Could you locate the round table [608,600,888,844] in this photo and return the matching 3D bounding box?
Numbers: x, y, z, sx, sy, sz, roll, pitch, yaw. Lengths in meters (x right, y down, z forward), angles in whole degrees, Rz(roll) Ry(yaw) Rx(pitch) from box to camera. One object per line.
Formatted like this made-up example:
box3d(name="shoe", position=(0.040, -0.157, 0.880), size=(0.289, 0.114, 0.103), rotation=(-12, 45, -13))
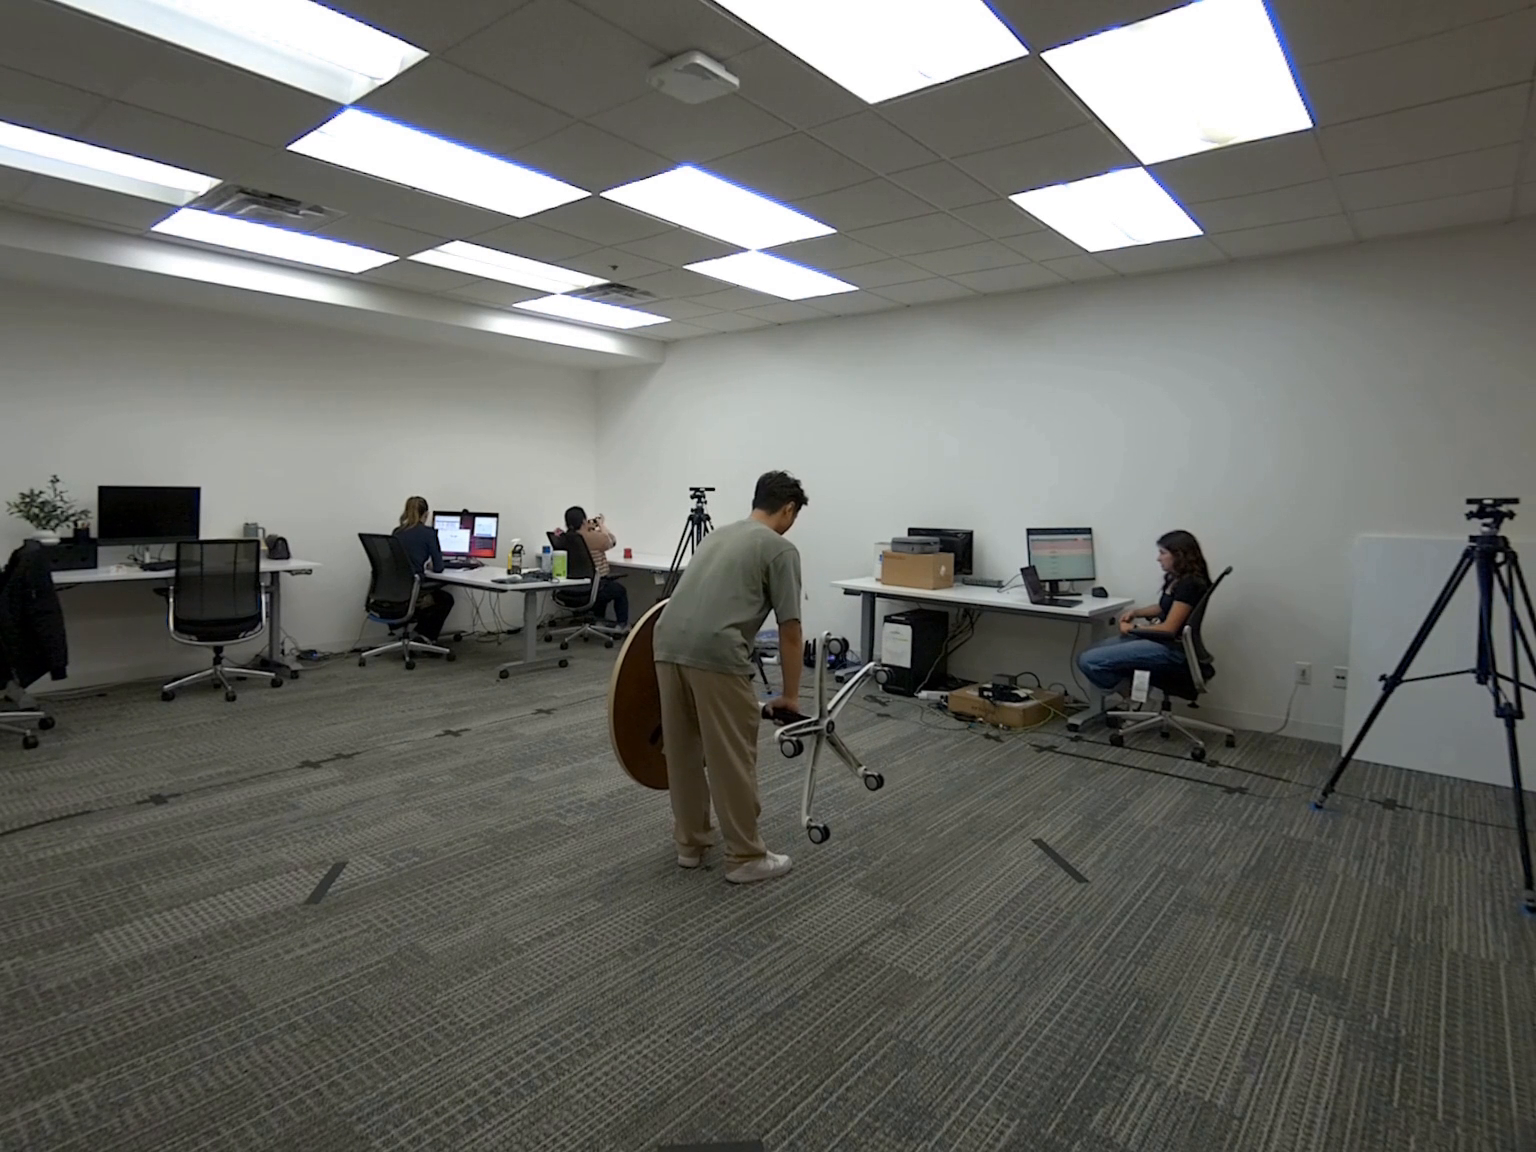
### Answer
box3d(name="round table", position=(-0.044, 0.498, 3.162), size=(0.813, 0.782, 0.763), rotation=(6, 6, 35))
